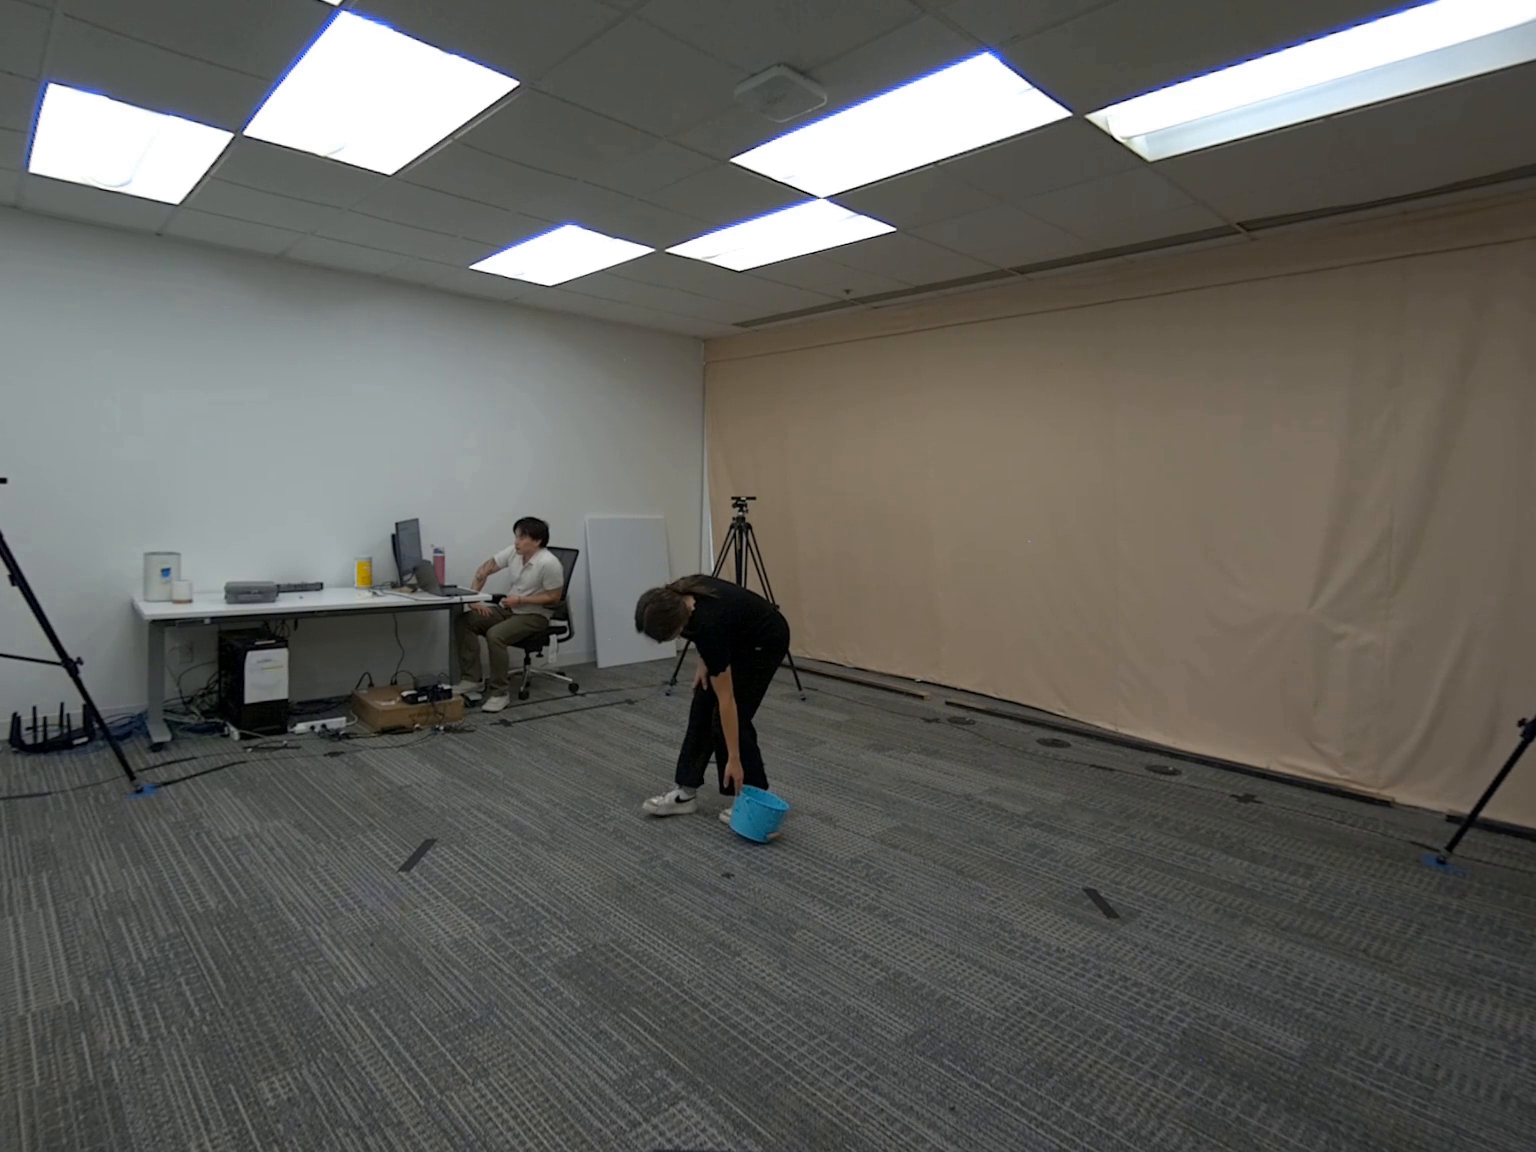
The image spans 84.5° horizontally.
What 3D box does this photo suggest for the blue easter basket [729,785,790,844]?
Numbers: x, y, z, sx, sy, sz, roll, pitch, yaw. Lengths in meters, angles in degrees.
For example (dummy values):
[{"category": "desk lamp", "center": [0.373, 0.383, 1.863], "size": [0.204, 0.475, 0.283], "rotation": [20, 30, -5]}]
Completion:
[{"category": "blue easter basket", "center": [-0.058, 0.976, 3.457], "size": [0.244, 0.156, 0.243], "rotation": [17, -2, -1]}]
